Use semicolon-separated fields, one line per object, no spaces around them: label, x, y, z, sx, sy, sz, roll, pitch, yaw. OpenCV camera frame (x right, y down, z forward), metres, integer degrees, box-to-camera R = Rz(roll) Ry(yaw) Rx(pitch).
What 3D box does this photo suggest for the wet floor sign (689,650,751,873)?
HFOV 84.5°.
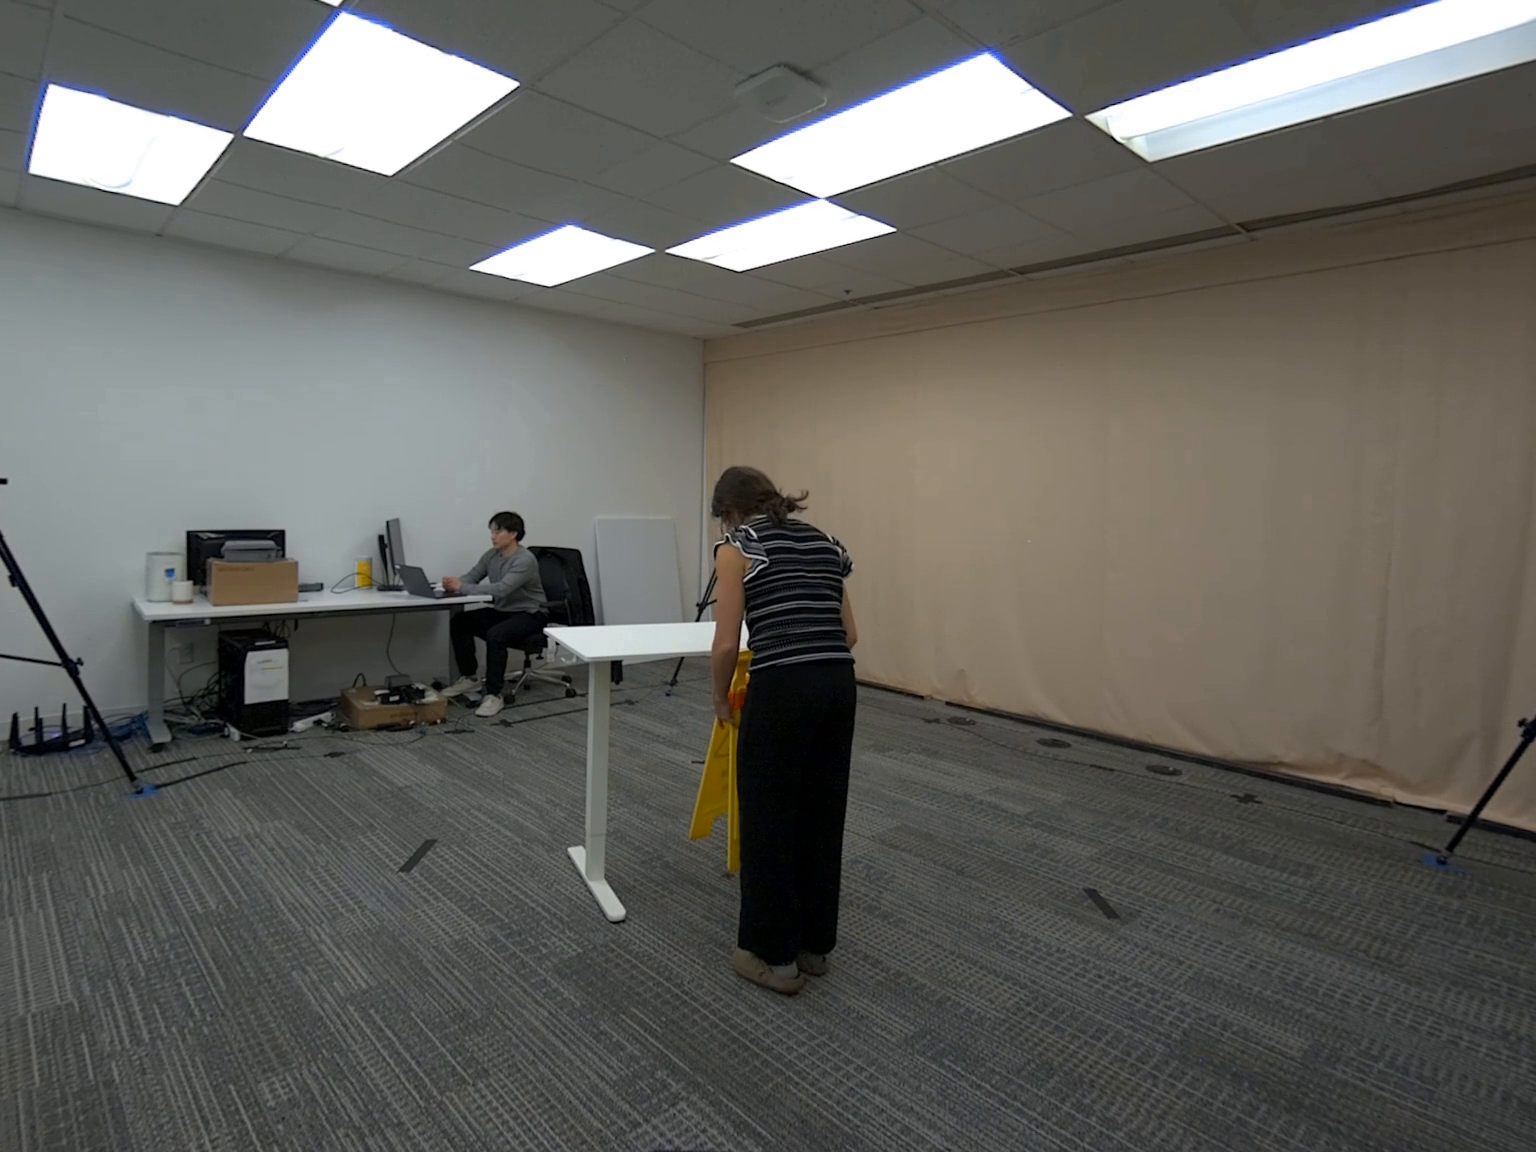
wet floor sign;-0.056;0.562;2.659;0.276;0.644;0.297;0;7;-37
